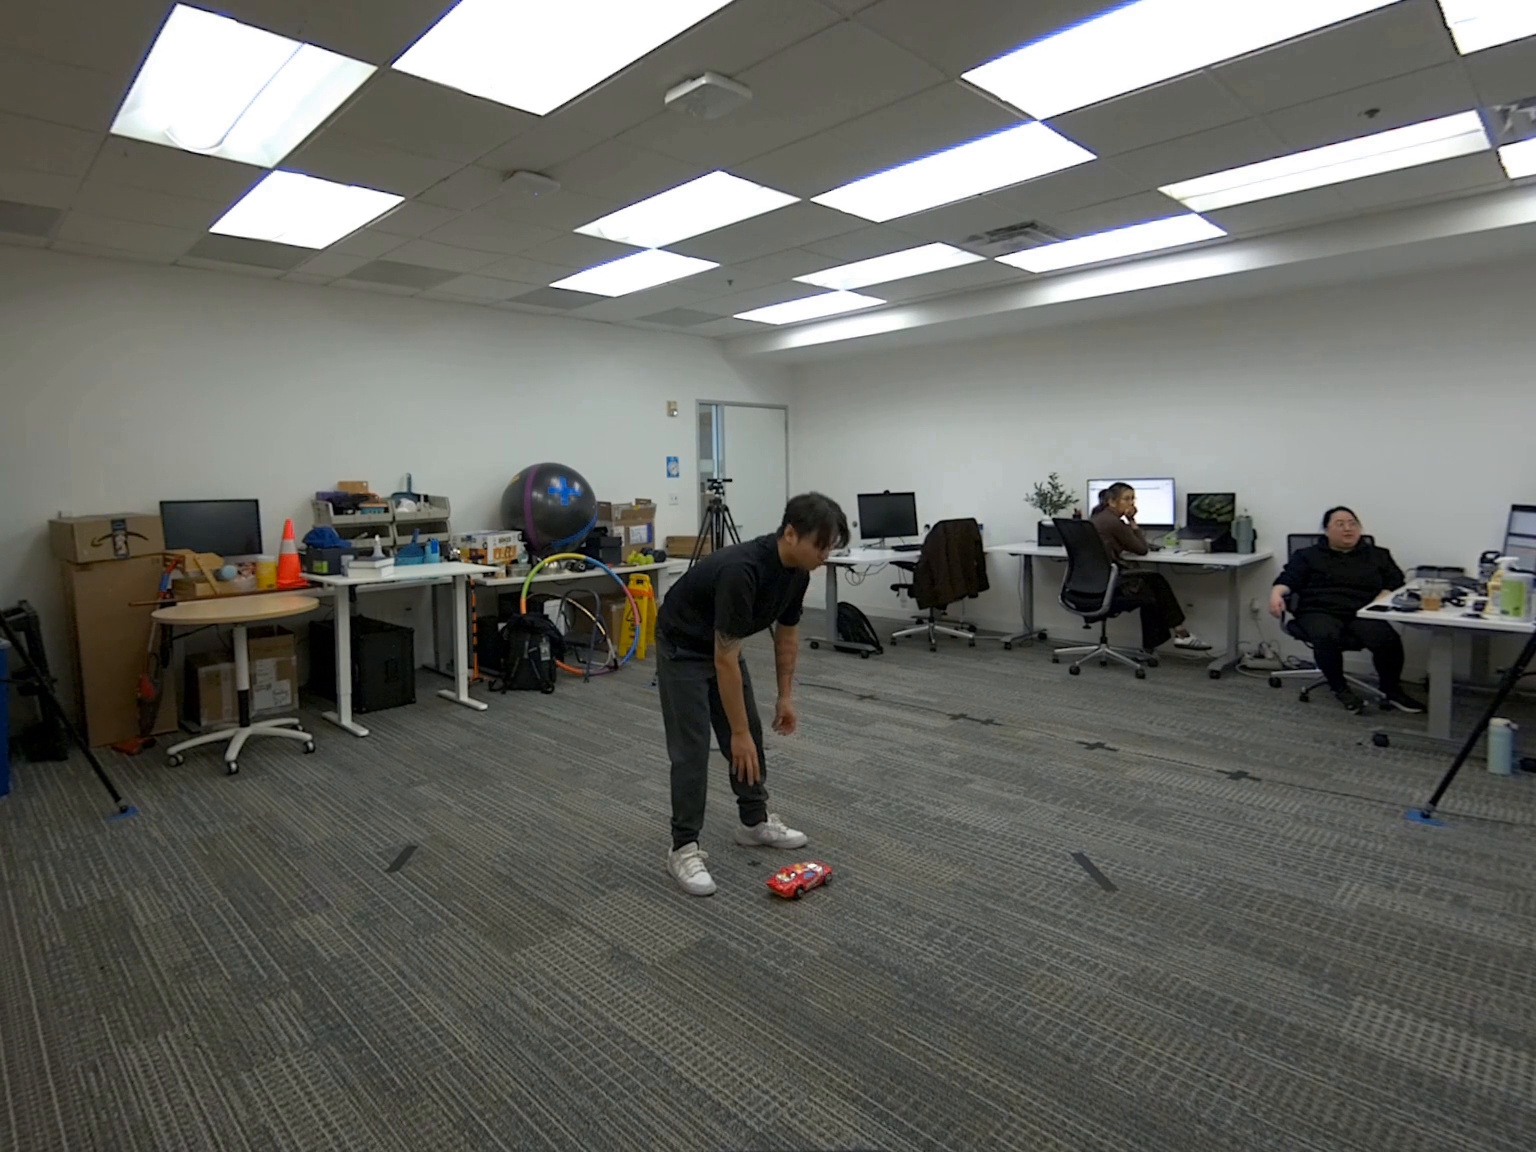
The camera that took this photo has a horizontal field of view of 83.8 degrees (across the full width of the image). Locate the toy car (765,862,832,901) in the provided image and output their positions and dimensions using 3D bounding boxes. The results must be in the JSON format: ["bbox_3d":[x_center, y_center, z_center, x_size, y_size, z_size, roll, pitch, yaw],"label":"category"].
[{"bbox_3d":[0.108,1.039,2.898,0.246,0.083,0.134,8,-2,-42],"label":"toy car"}]
